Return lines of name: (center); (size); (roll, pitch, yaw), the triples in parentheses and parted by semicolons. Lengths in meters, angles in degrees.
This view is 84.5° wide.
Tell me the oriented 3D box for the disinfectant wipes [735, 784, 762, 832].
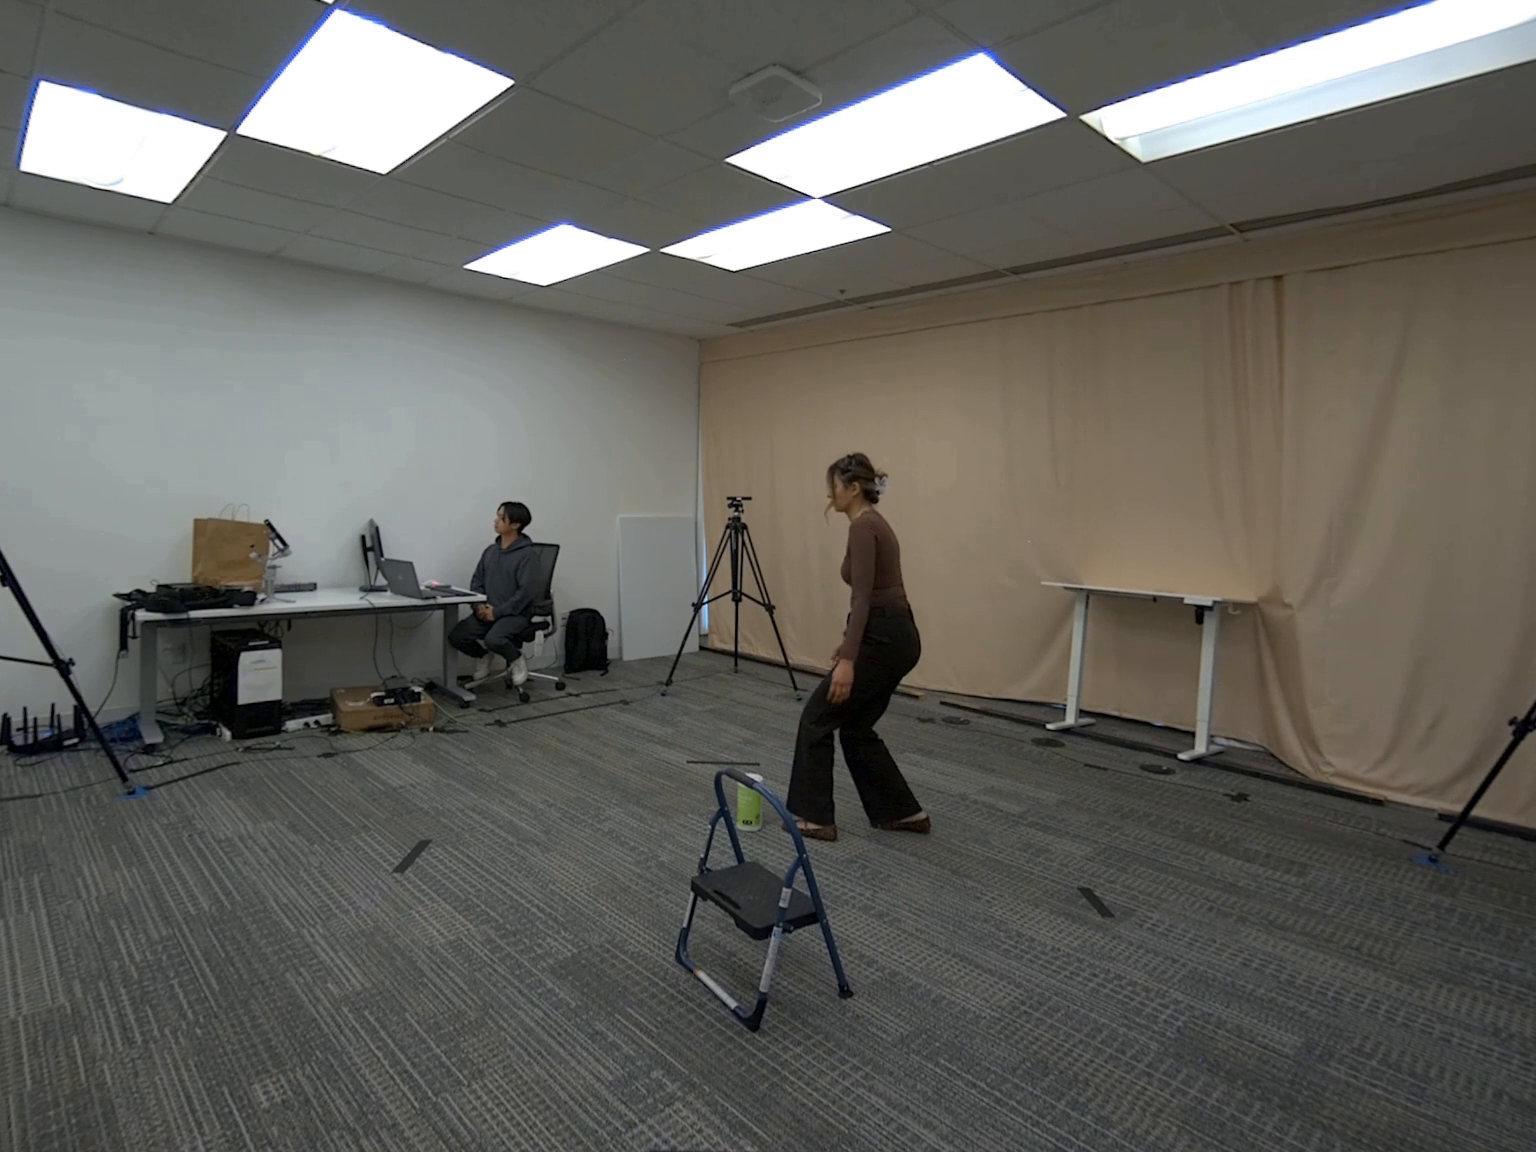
disinfectant wipes: (-0.092, 0.954, 3.578); (0.118, 0.216, 0.118); (-1, 6, -1)
